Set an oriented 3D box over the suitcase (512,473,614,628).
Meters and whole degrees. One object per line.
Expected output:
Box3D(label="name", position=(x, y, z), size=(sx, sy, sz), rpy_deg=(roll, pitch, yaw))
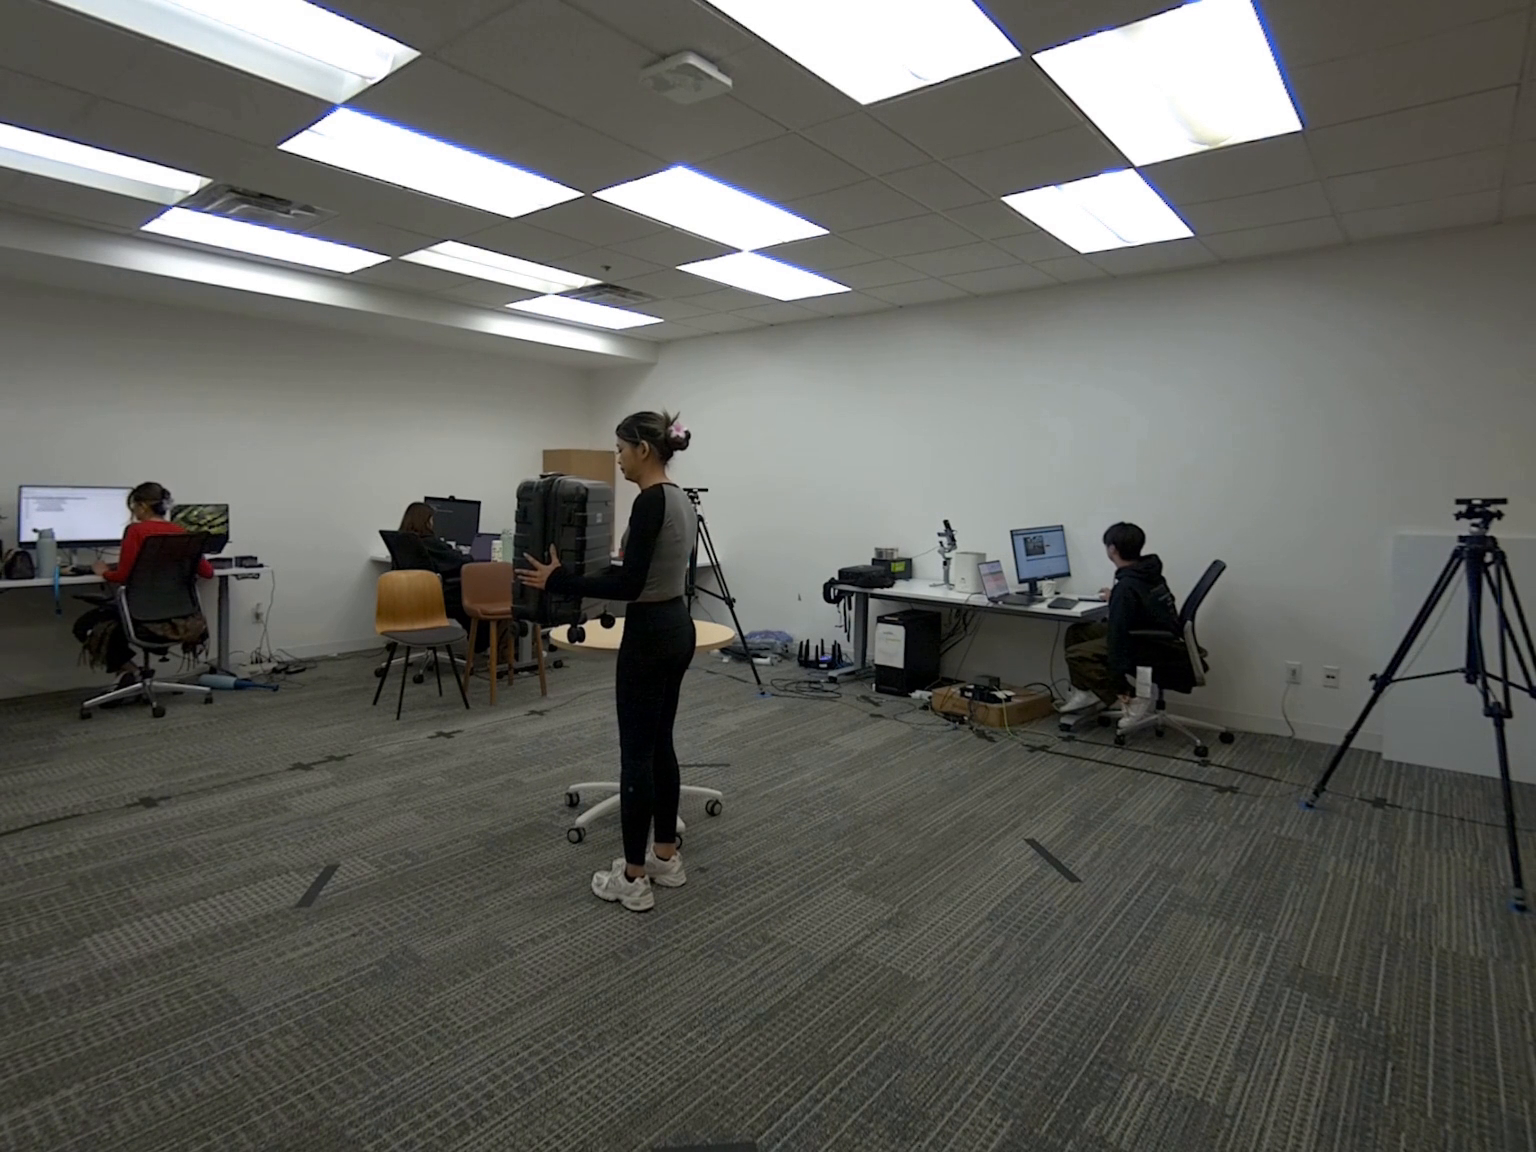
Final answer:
Box3D(label="suitcase", position=(-0.720, -0.083, 2.973), size=(0.251, 0.548, 0.372), rpy_deg=(4, 3, 10))
